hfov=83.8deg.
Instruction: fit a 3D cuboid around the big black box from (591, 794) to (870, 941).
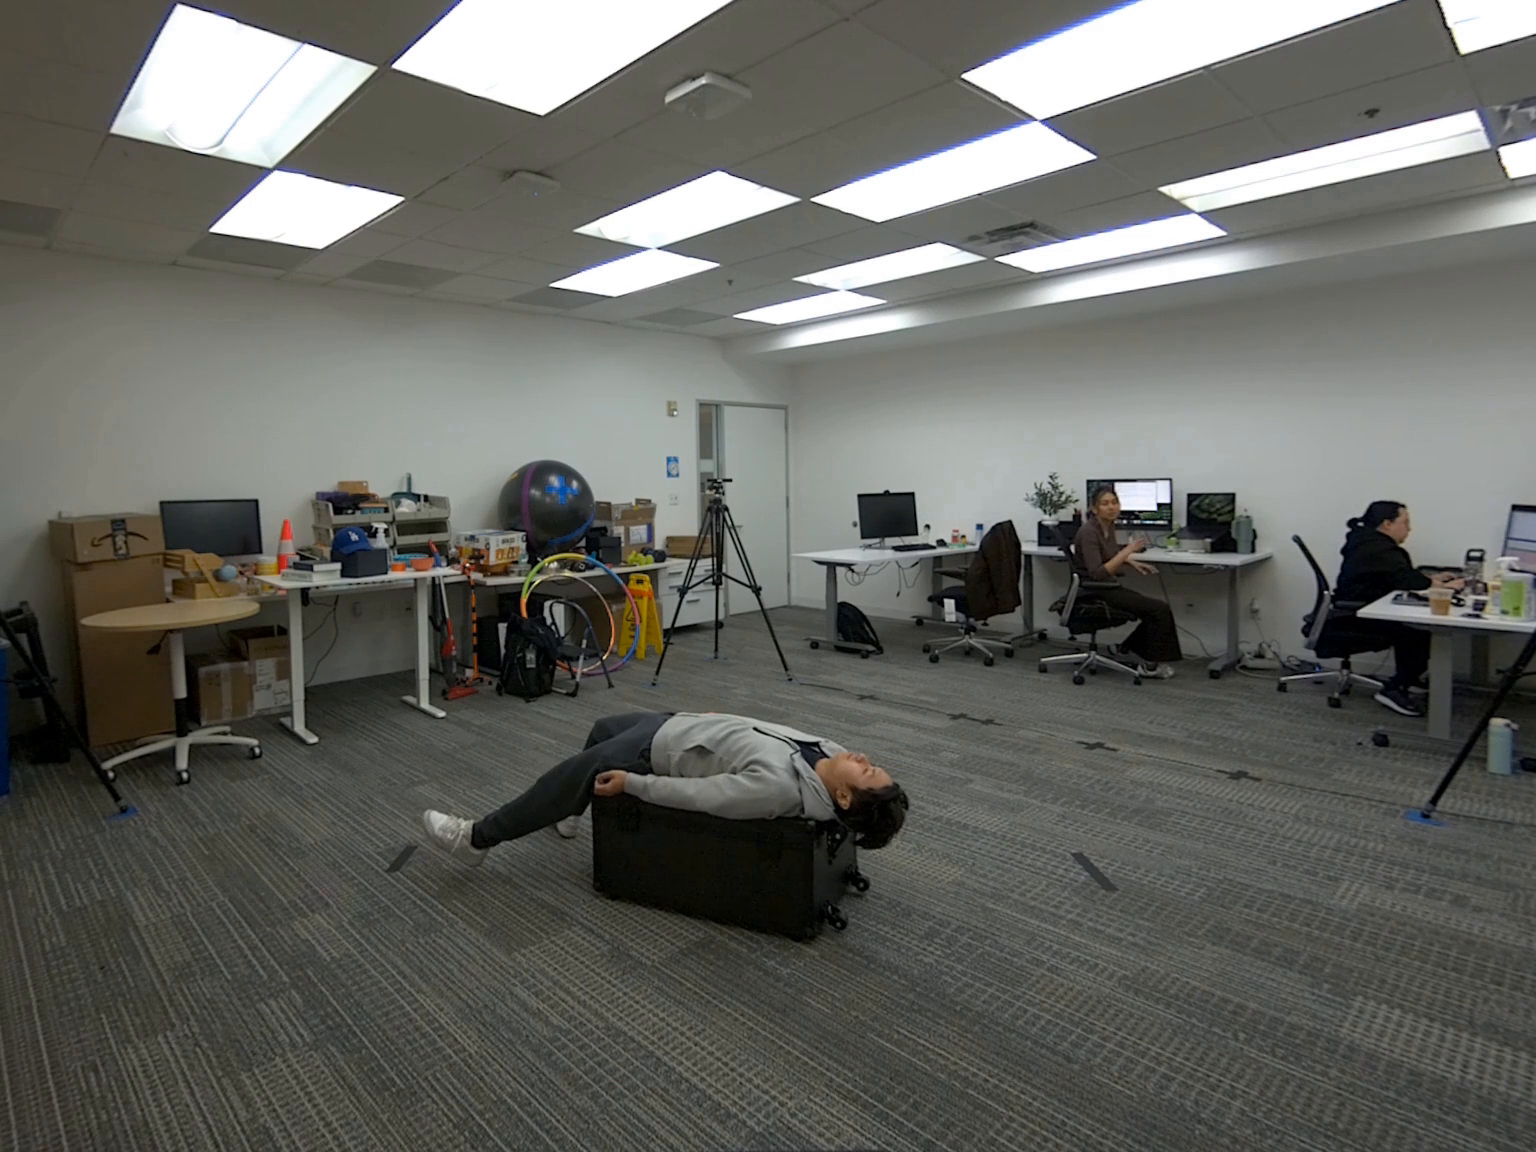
[{"bbox_3d":[-0.165,0.886,2.932,0.881,0.394,0.512,2,7,24],"label":"big black box"}]
